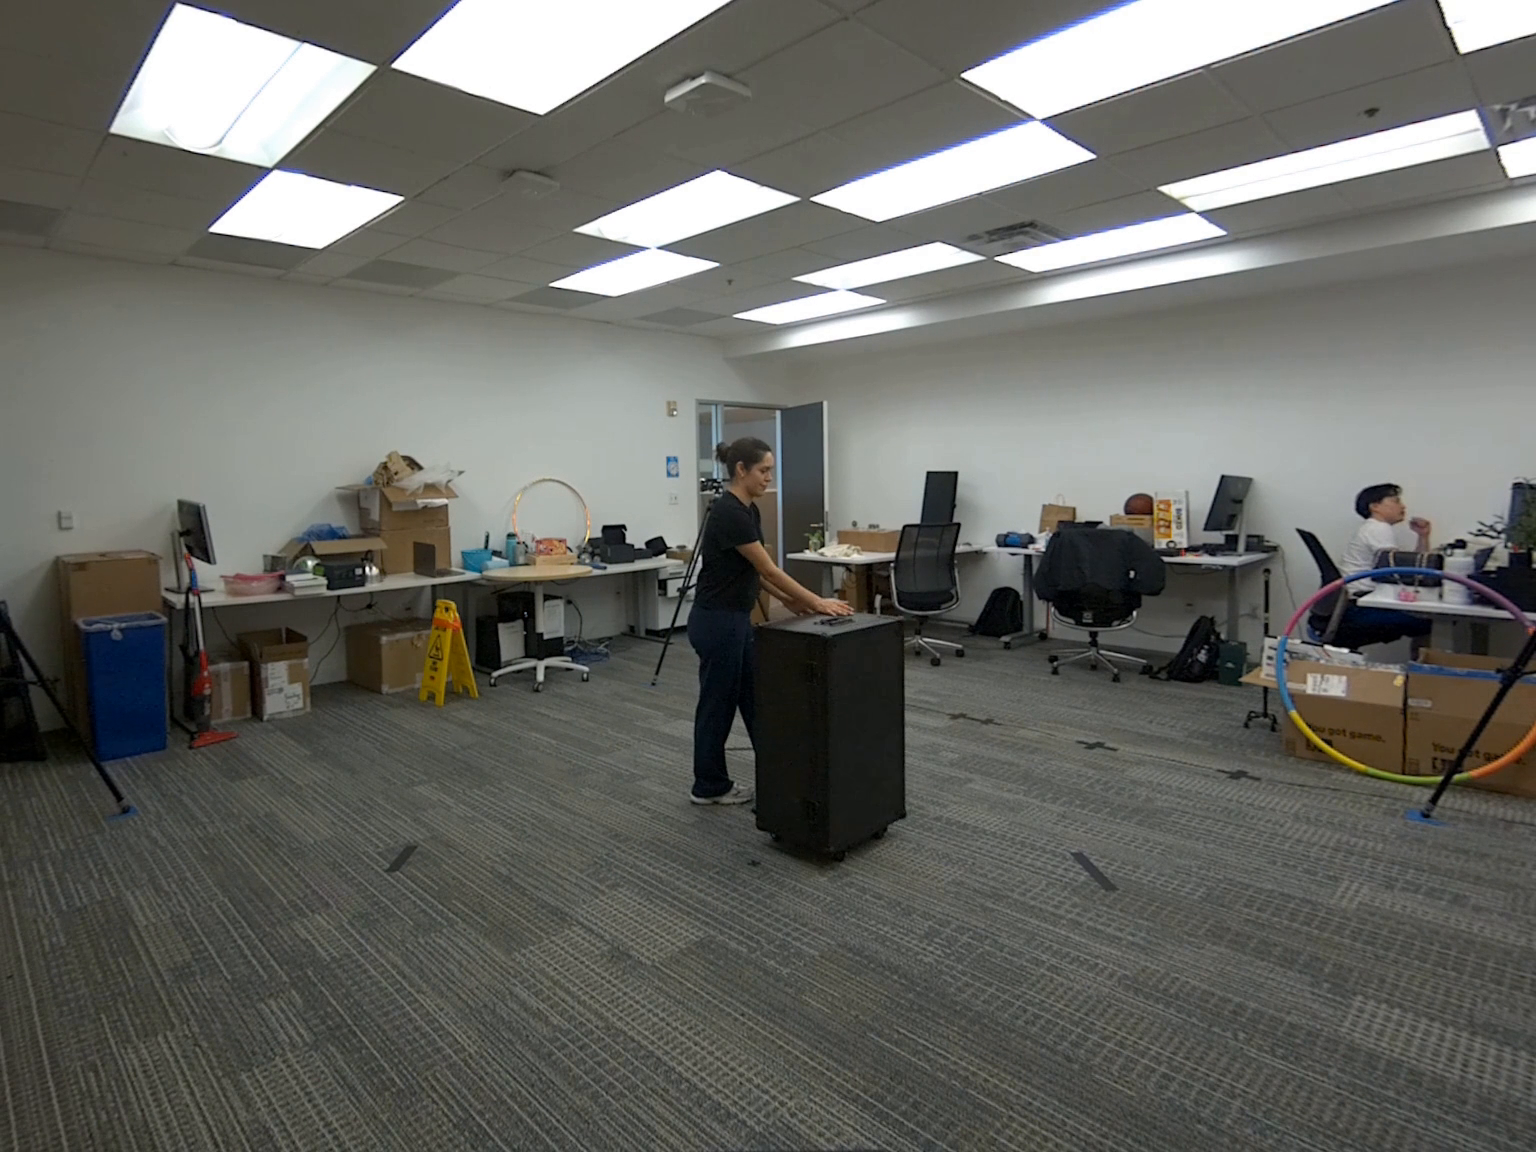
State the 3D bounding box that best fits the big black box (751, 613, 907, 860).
[{"bbox_3d":[0.227,0.594,3.276,0.408,0.859,0.507,2,5,44],"label":"big black box"}]
